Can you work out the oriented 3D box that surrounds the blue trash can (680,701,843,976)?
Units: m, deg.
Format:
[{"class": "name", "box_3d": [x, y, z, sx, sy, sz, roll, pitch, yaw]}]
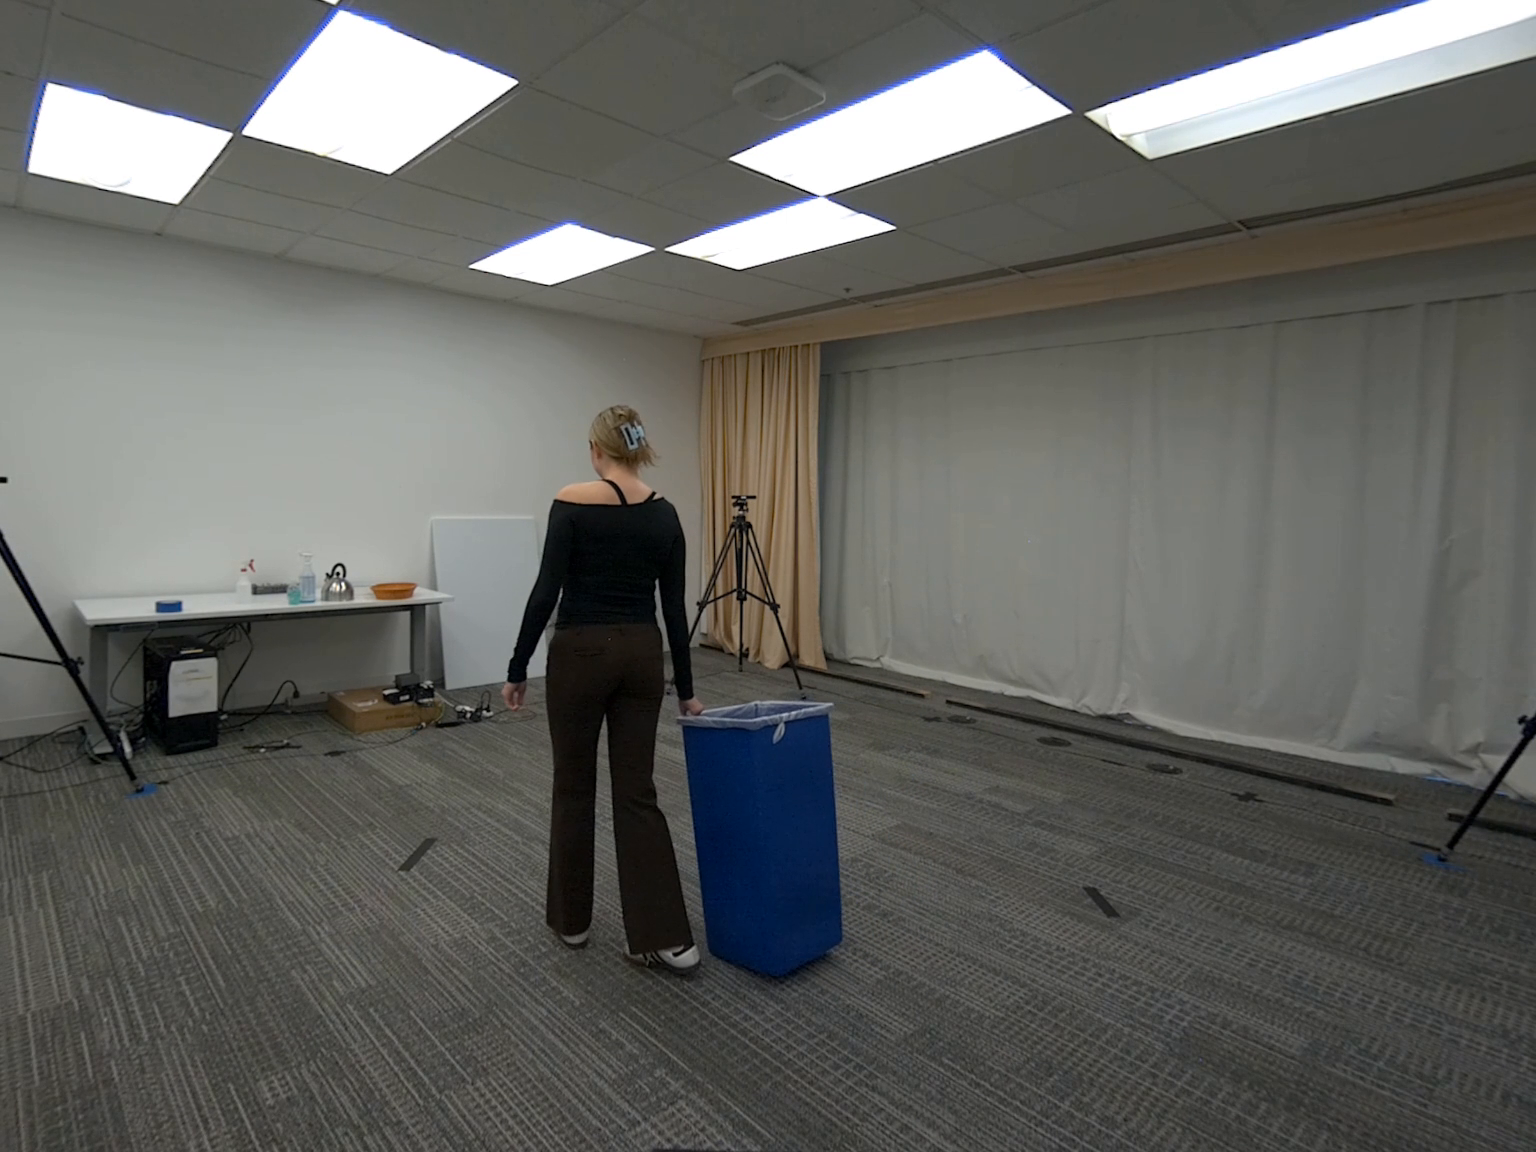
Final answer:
[{"class": "blue trash can", "box_3d": [-0.022, 0.775, 2.590, 0.369, 0.716, 0.381, -1, -5, -43]}]
